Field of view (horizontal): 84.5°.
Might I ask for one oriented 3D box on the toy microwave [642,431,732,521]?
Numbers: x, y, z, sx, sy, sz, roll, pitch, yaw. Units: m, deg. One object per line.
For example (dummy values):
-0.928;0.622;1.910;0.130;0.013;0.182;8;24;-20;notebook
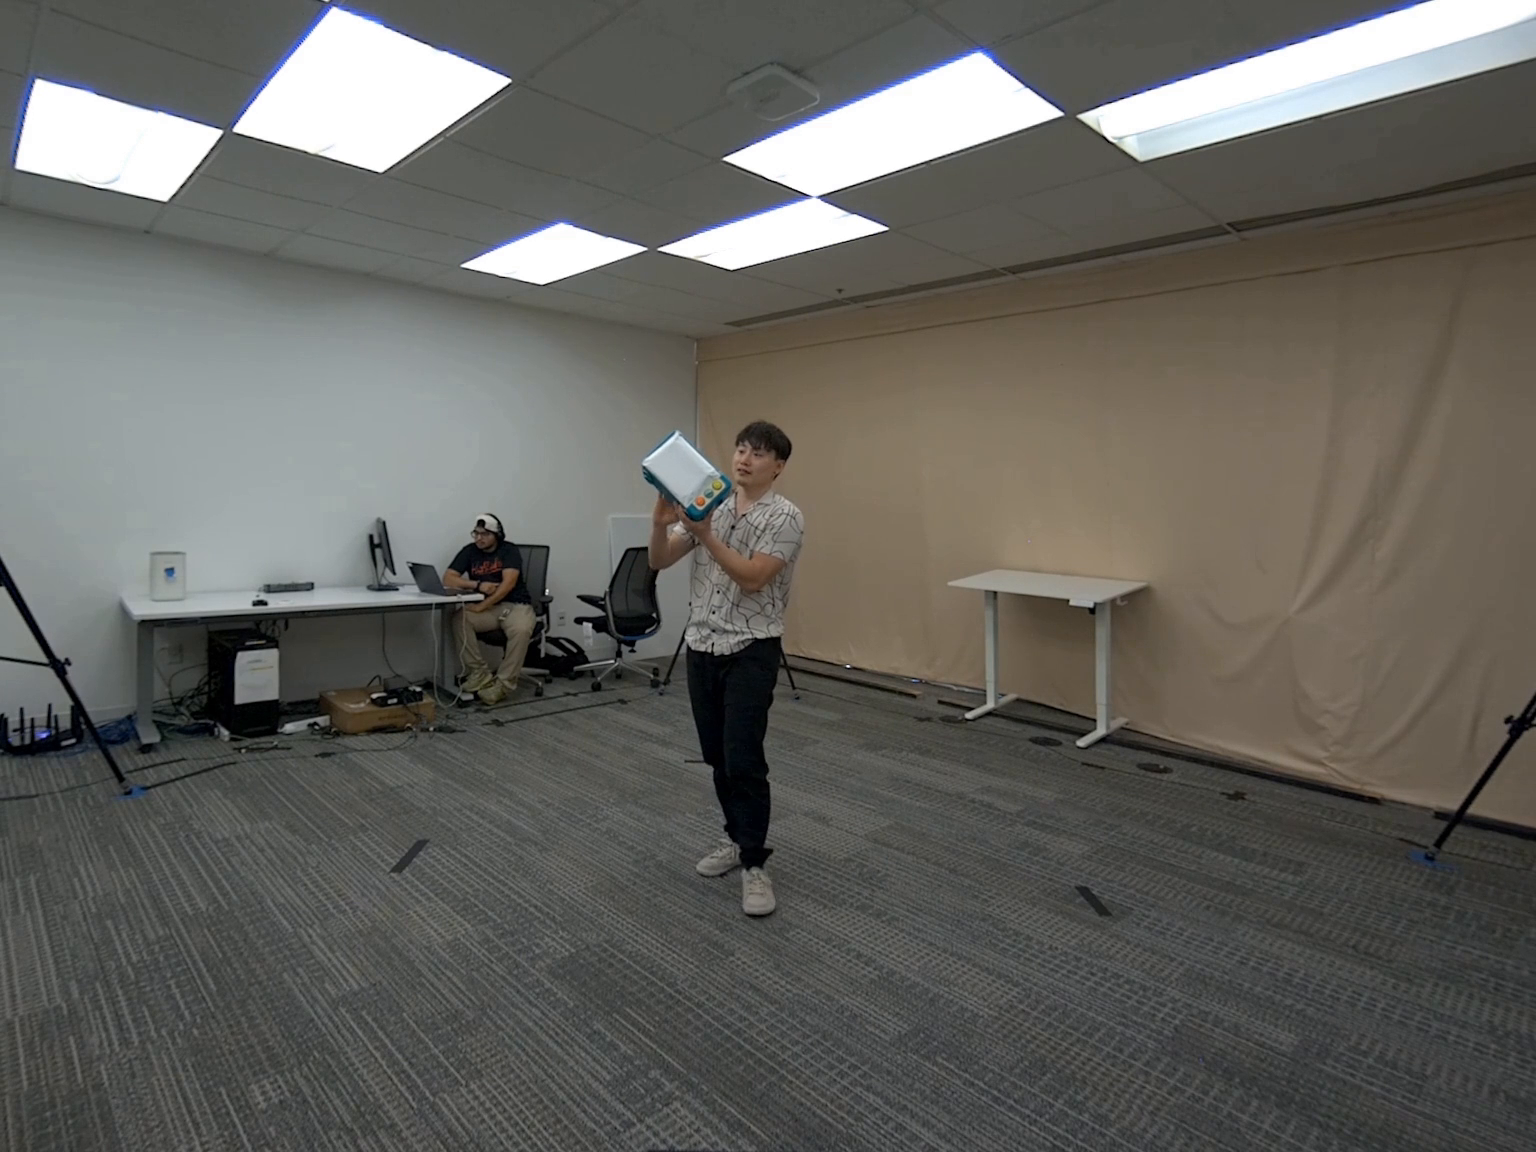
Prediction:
-0.284;-0.332;2.857;0.287;0.184;0.152;45;-9;4;toy microwave
